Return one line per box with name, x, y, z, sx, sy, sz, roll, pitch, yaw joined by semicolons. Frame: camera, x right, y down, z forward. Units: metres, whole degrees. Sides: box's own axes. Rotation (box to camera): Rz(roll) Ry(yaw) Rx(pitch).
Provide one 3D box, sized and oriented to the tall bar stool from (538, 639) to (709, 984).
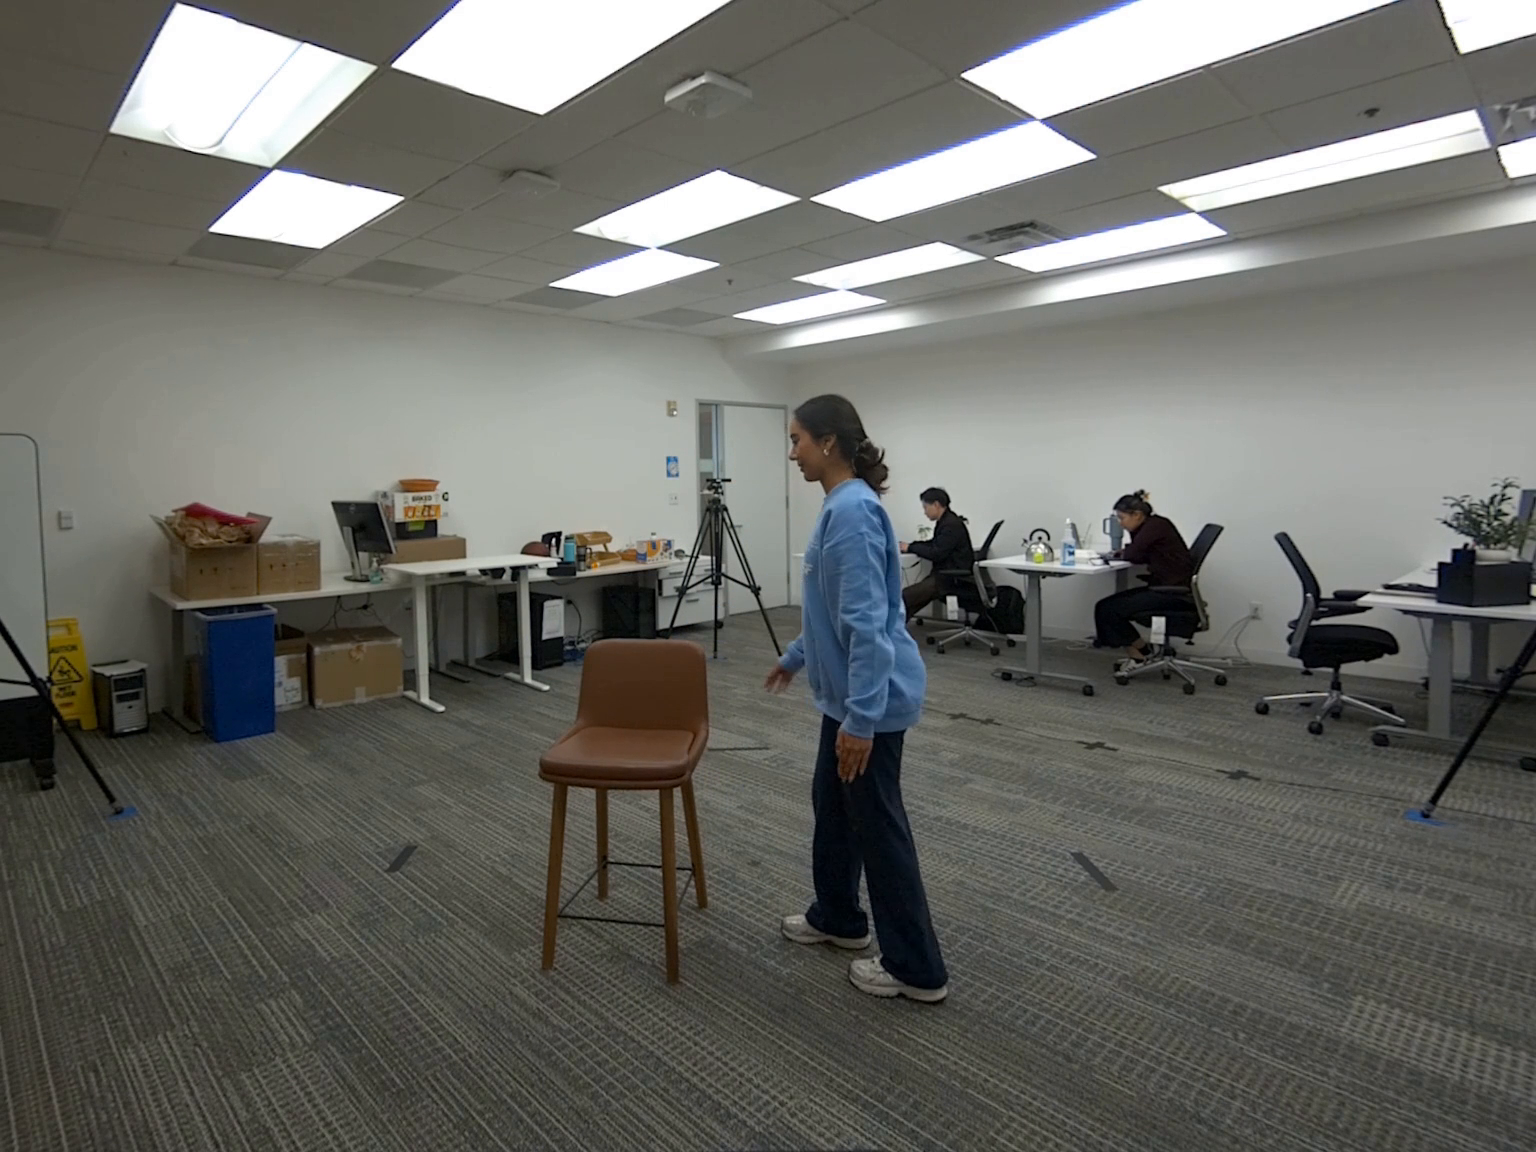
tall bar stool;-0.421;0.677;2.609;0.462;0.887;0.463;0;3;12
